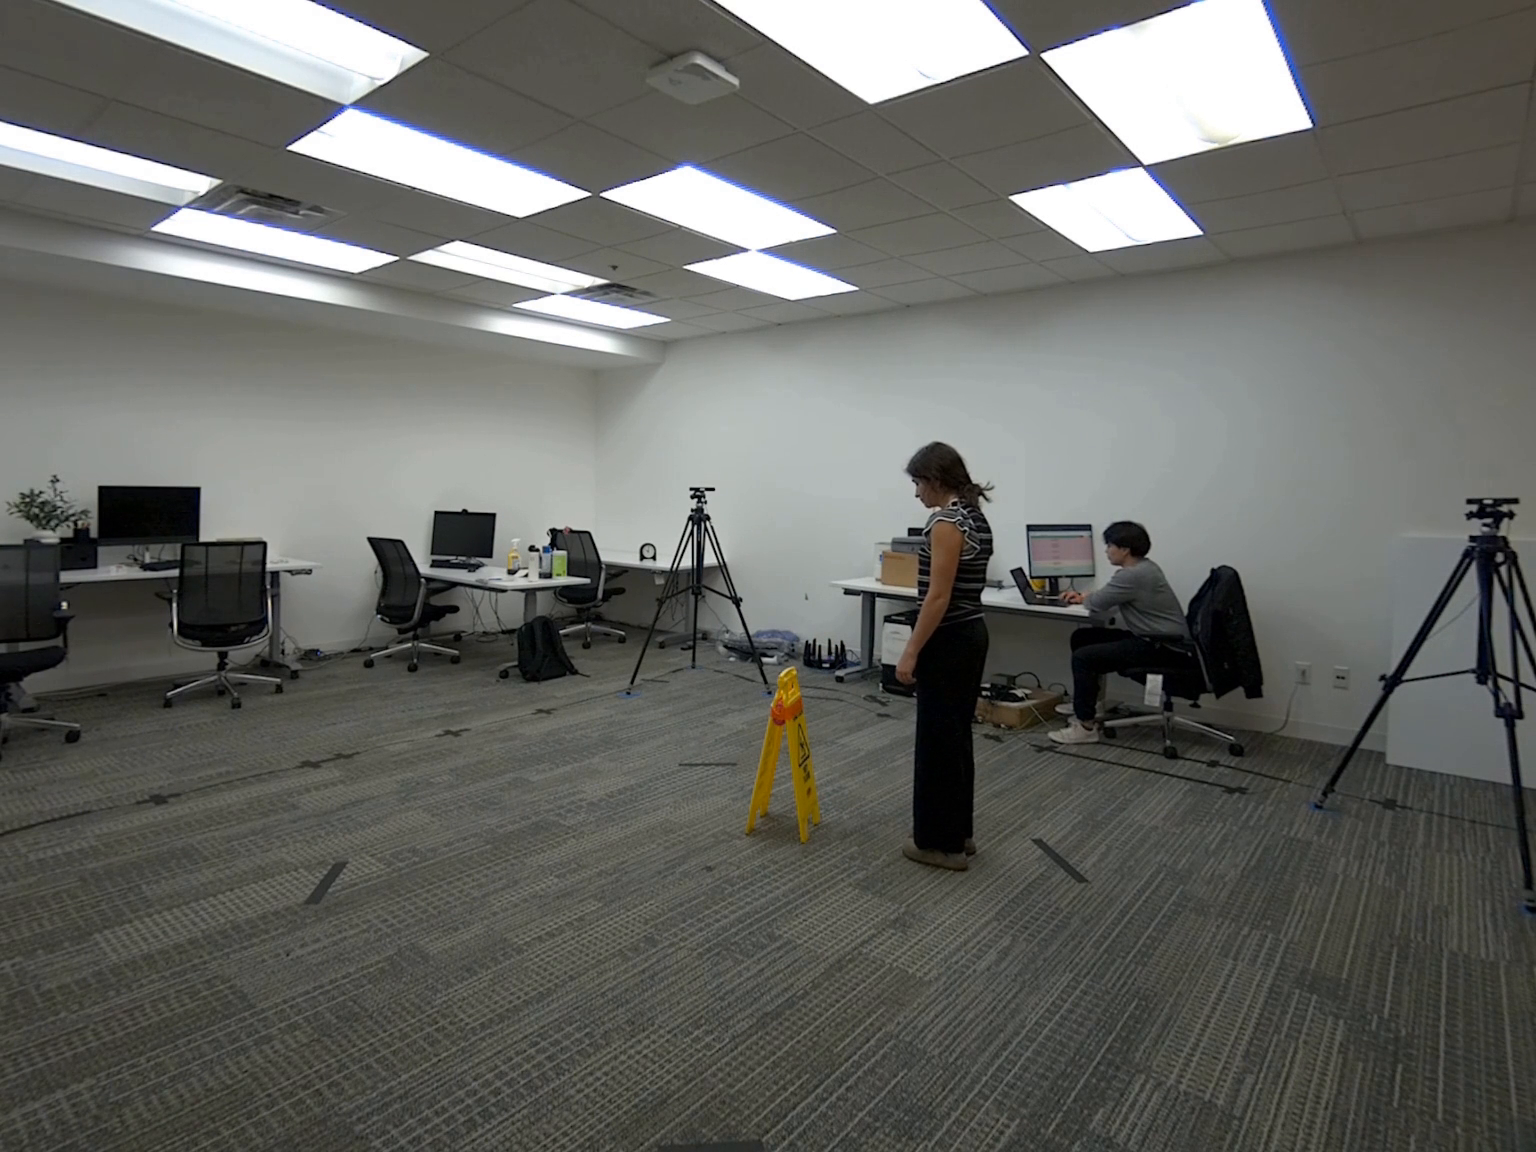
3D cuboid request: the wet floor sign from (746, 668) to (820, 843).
[{"bbox_3d":[0.068,0.711,3.499,0.295,0.644,0.278,3,4,17],"label":"wet floor sign"}]
